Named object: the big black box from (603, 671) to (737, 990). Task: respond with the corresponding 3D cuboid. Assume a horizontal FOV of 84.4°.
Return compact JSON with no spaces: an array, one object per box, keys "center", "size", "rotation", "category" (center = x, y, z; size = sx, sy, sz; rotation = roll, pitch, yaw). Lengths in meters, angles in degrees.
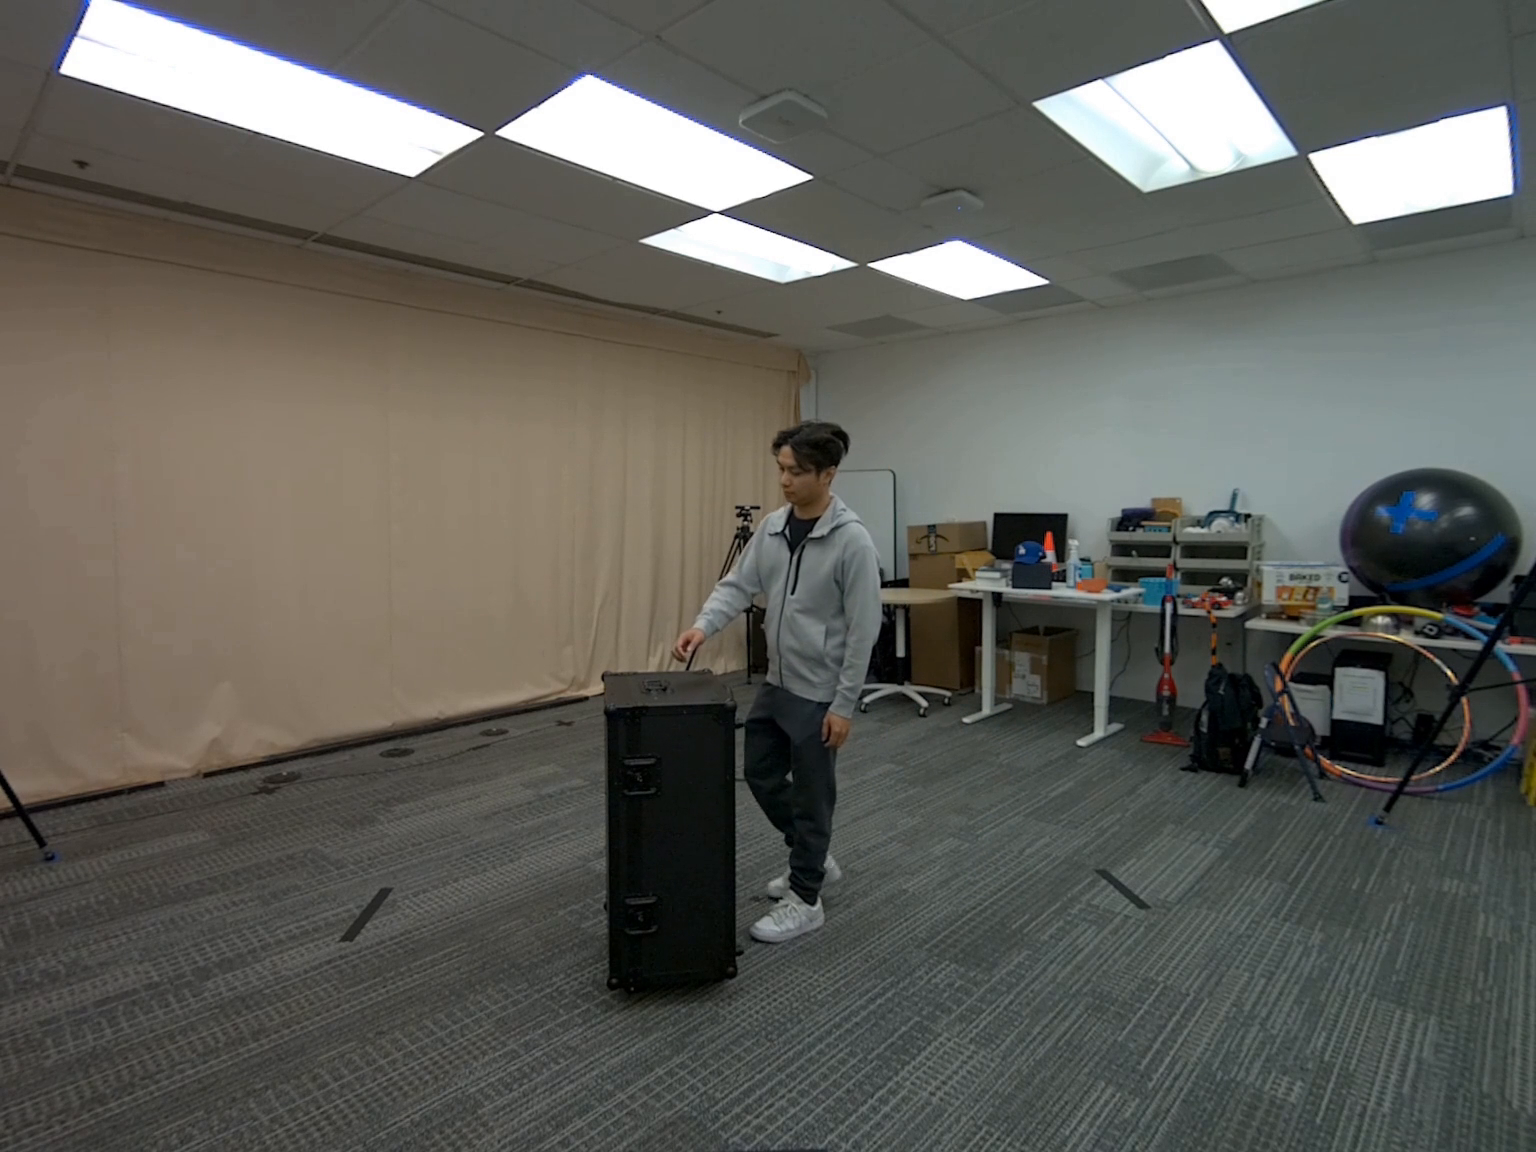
[{"center":[-0.304,0.757,2.547],"size":[0.392,0.860,0.528],"rotation":[0,2,-12],"category":"big black box"}]
